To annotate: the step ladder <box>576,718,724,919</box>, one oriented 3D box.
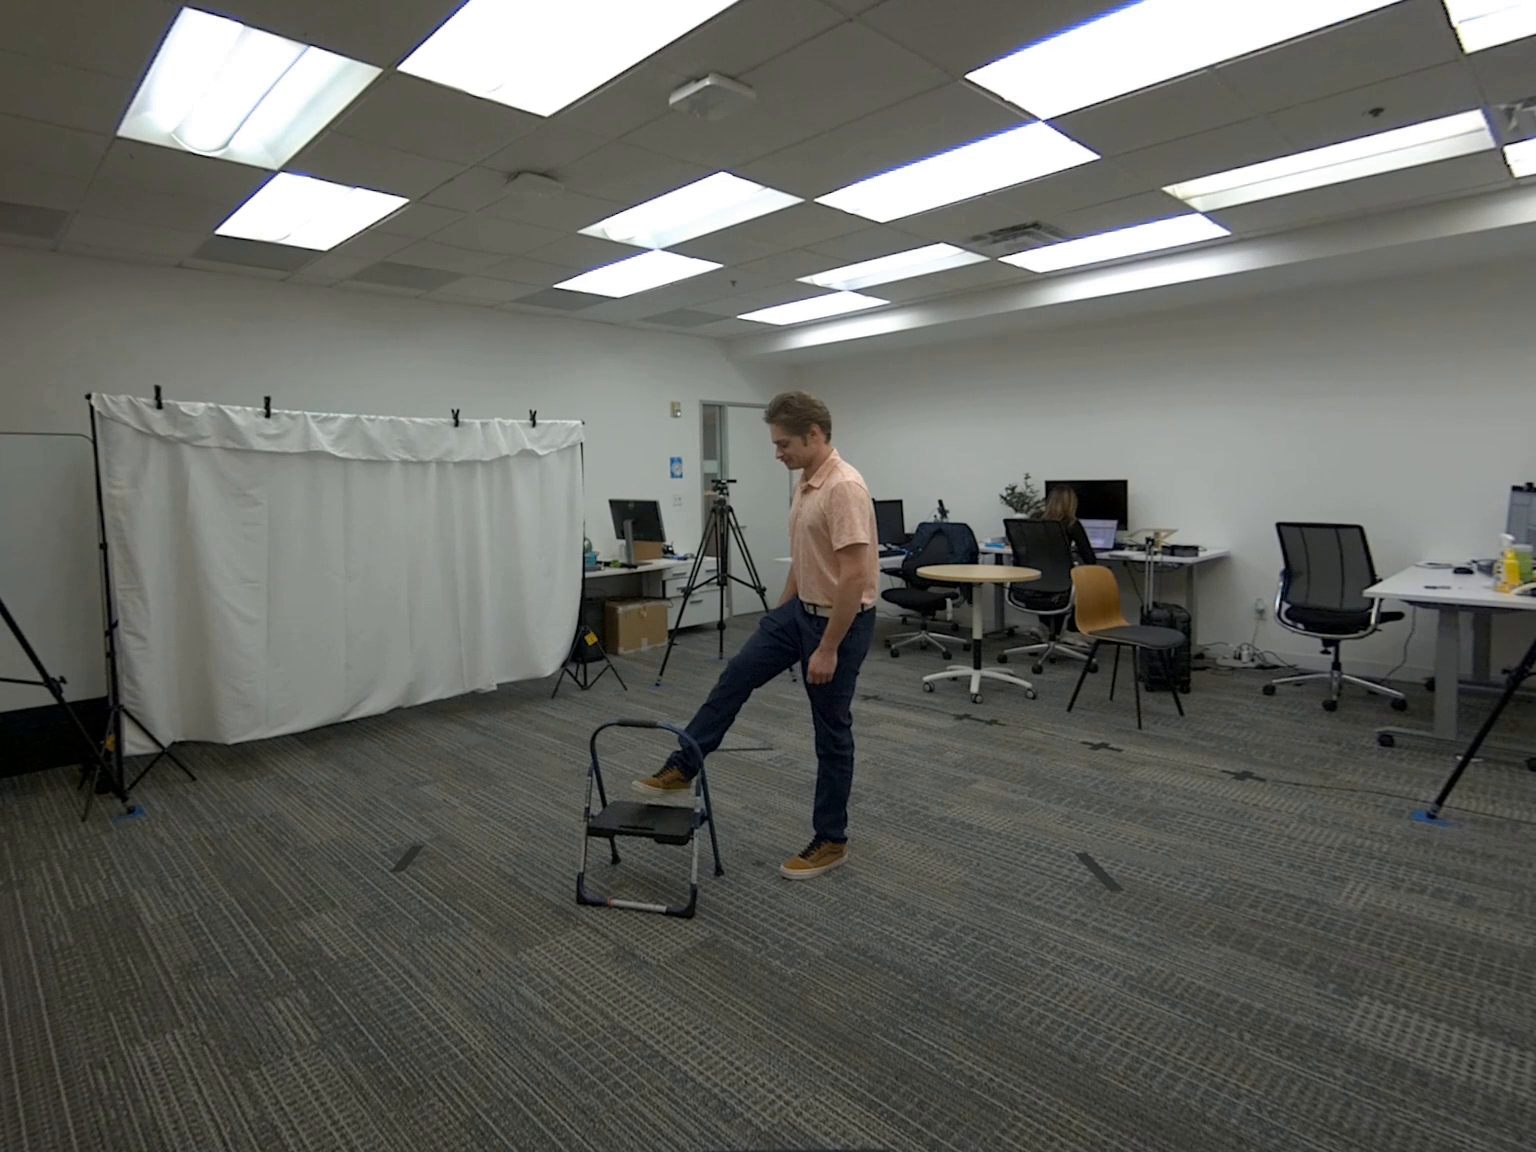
[{"bbox_3d":[-0.406,0.774,2.918,0.437,0.604,0.346,0,5,14],"label":"step ladder"}]
